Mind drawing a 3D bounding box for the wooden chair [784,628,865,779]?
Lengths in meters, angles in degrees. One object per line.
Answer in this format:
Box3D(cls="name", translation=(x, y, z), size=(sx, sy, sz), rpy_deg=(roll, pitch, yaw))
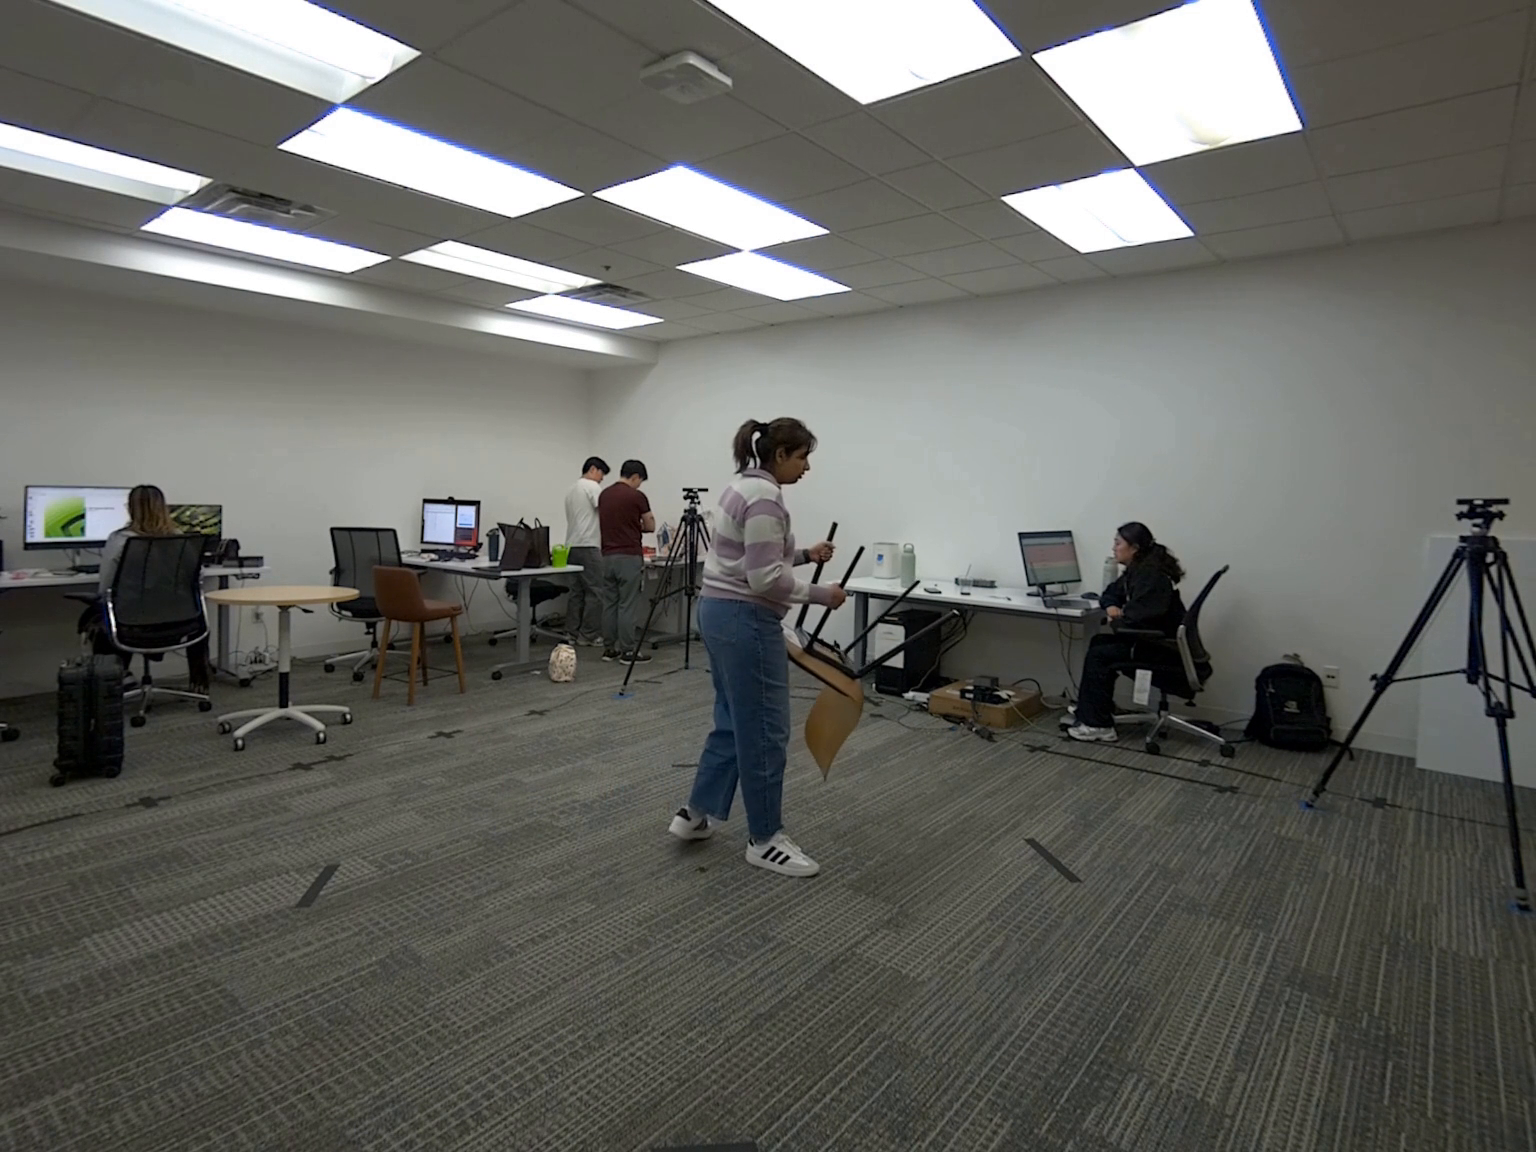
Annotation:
Box3D(cls="wooden chair", translation=(0.222, 0.300, 3.340), size=(0.515, 0.875, 0.487), rpy_deg=(30, 9, -13))
